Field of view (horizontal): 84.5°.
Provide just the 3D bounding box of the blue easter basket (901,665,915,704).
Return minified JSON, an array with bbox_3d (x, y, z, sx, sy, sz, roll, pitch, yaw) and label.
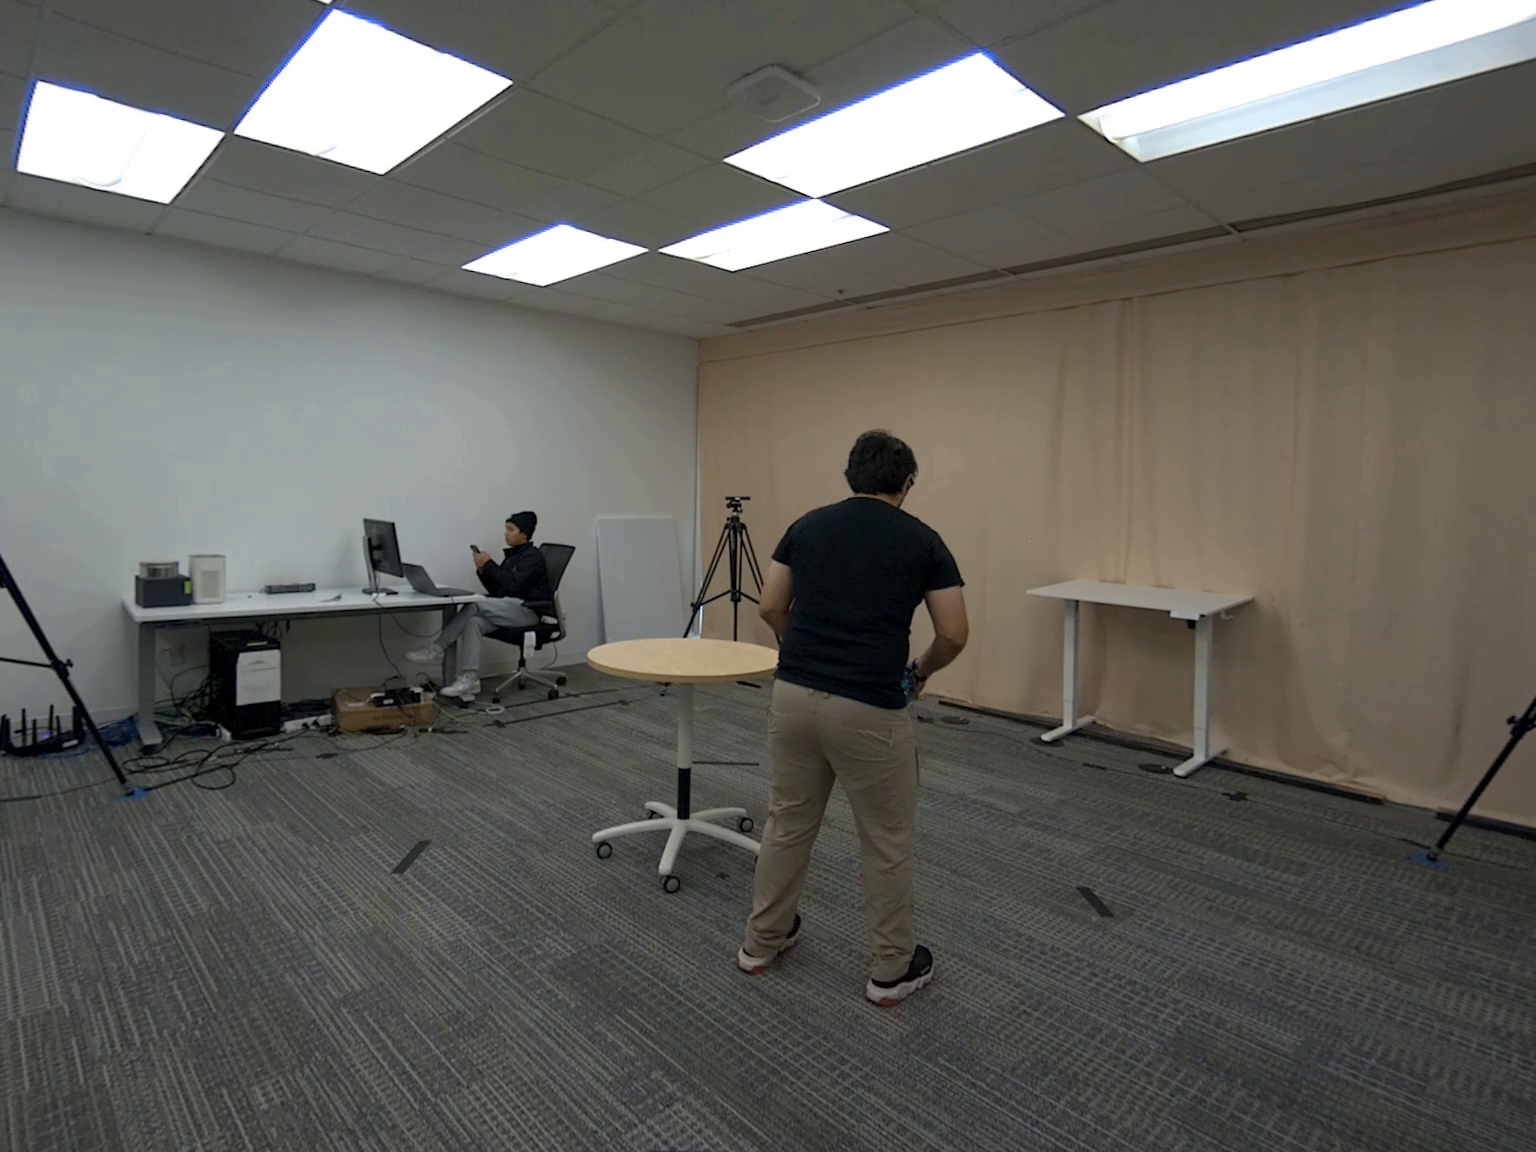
[{"bbox_3d":[0.344,0.368,2.624,0.244,0.157,0.241,10,-11,1],"label":"blue easter basket"}]
